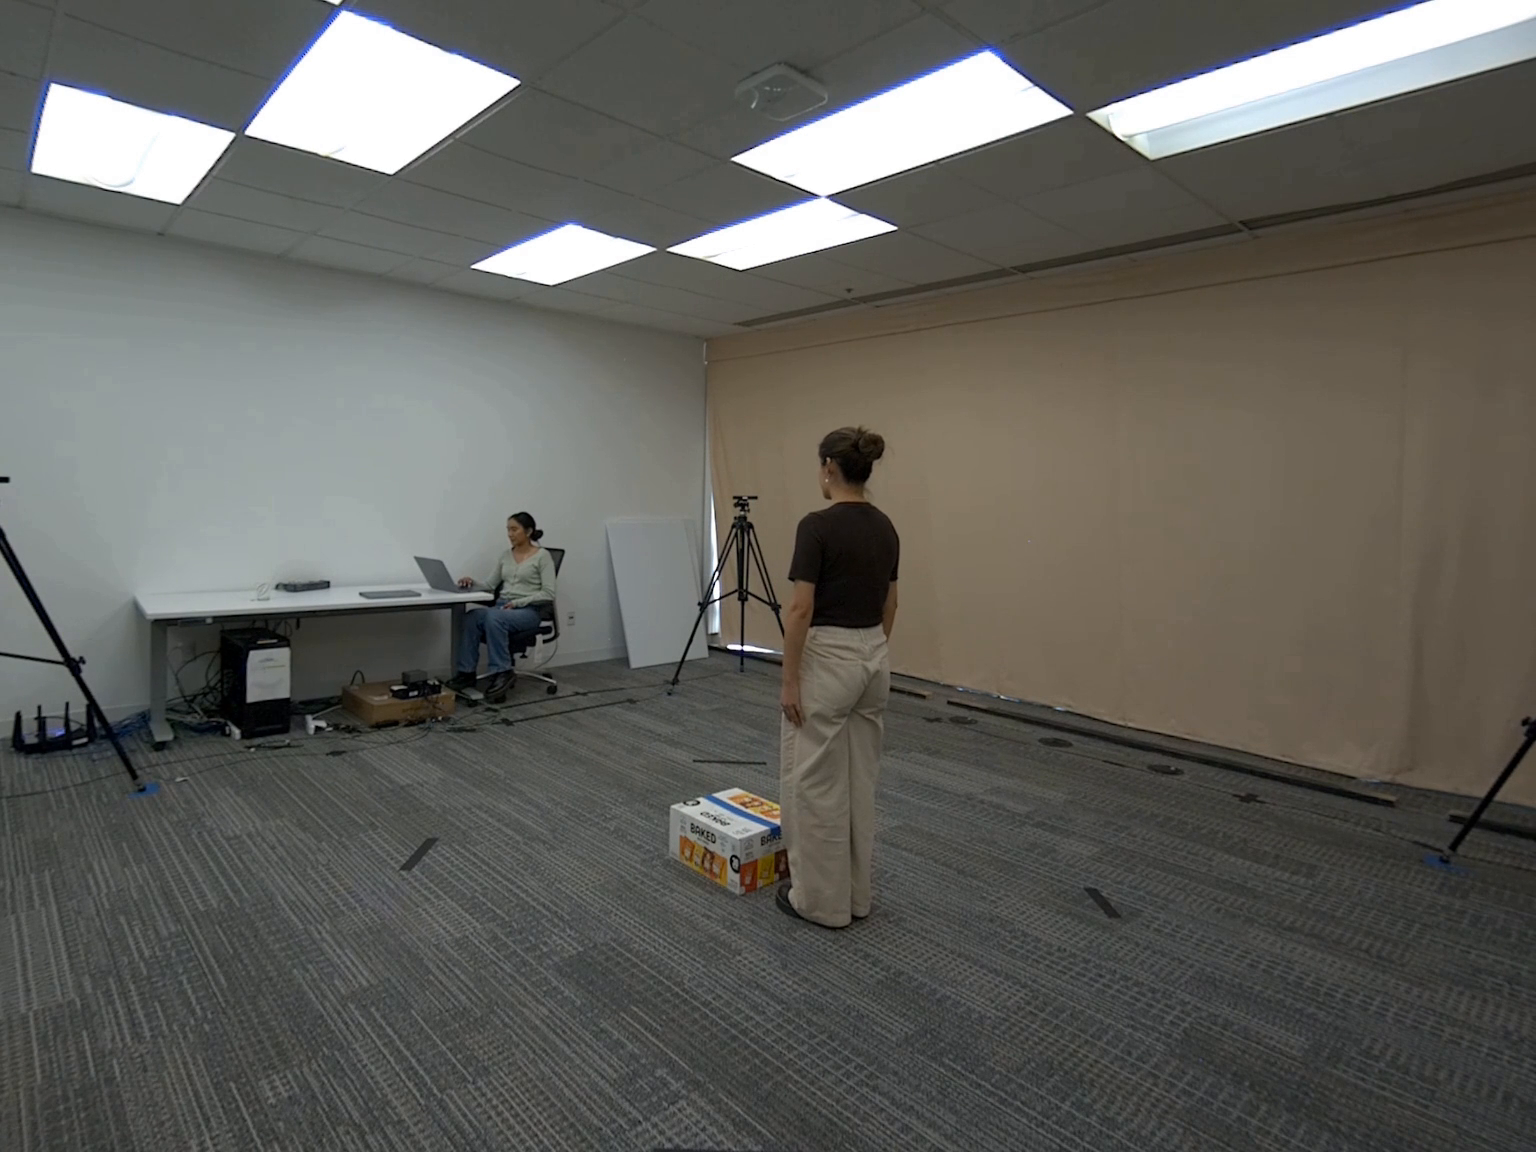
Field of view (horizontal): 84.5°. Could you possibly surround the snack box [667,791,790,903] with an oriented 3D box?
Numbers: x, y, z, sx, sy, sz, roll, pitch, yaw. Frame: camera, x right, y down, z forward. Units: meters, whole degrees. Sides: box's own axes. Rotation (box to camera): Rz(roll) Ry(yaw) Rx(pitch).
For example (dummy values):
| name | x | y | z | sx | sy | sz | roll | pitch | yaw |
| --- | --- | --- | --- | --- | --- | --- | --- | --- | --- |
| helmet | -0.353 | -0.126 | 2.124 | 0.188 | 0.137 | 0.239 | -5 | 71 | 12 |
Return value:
| name | x | y | z | sx | sy | sz | roll | pitch | yaw |
| --- | --- | --- | --- | --- | --- | --- | --- | --- | --- |
| snack box | -0.121 | 1.003 | 3.192 | 0.332 | 0.205 | 0.416 | -2 | 6 | -42 |
